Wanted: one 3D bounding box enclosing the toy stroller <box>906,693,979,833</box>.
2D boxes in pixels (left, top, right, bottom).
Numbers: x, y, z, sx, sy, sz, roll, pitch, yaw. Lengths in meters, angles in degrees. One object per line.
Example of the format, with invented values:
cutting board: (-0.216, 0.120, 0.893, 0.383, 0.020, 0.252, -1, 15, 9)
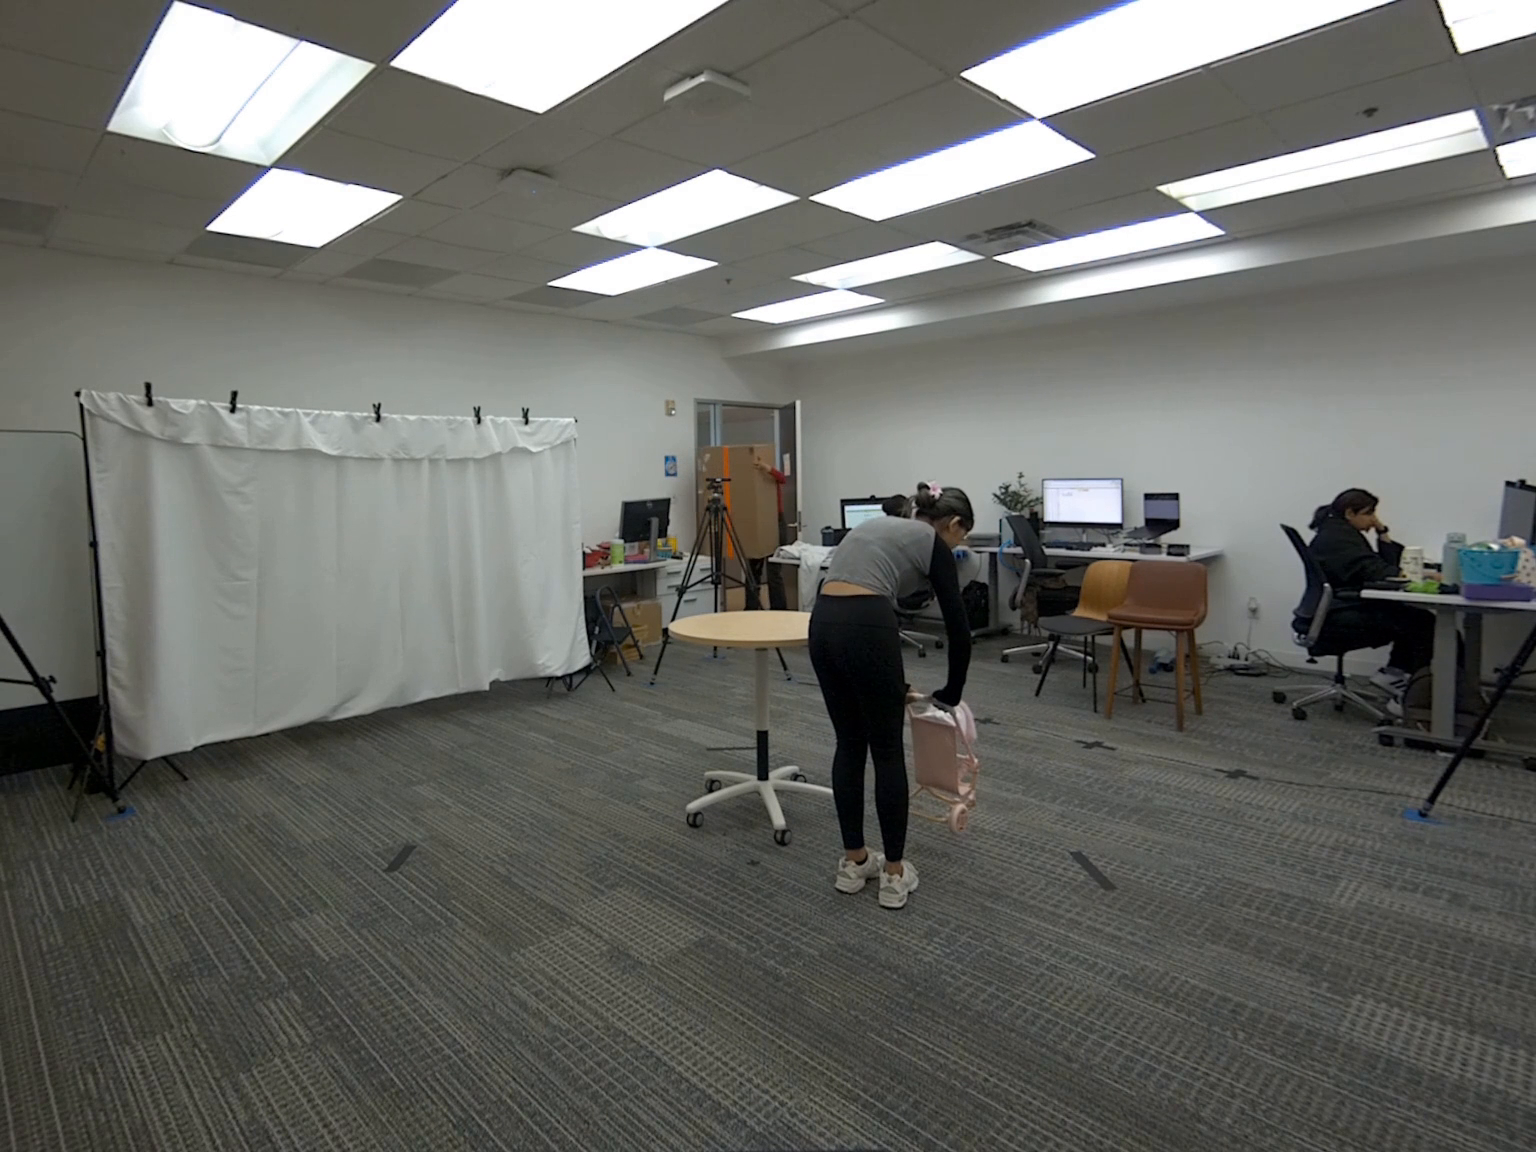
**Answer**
toy stroller: (0.653, 0.690, 3.154, 0.290, 0.535, 0.331, 3, 1, 44)
